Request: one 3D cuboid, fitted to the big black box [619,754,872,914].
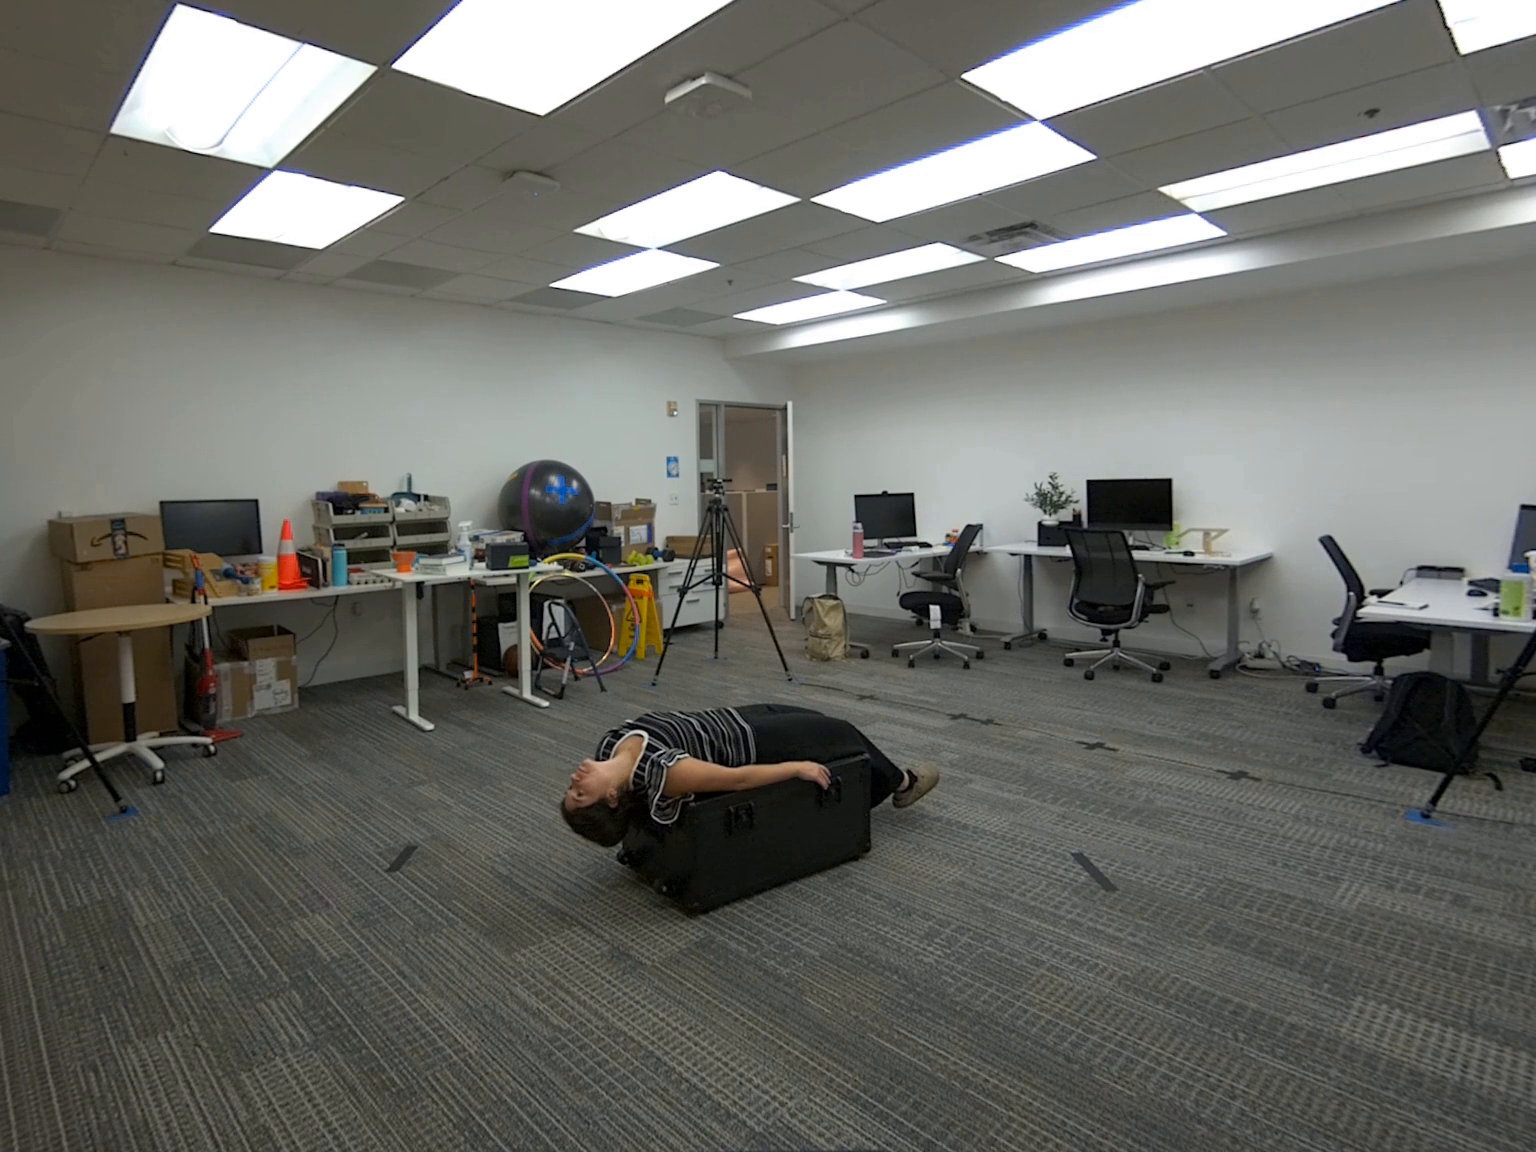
[{"bbox_3d":[-0.107,0.864,3.092,0.840,0.394,0.537,-4,8,-34],"label":"big black box"}]
